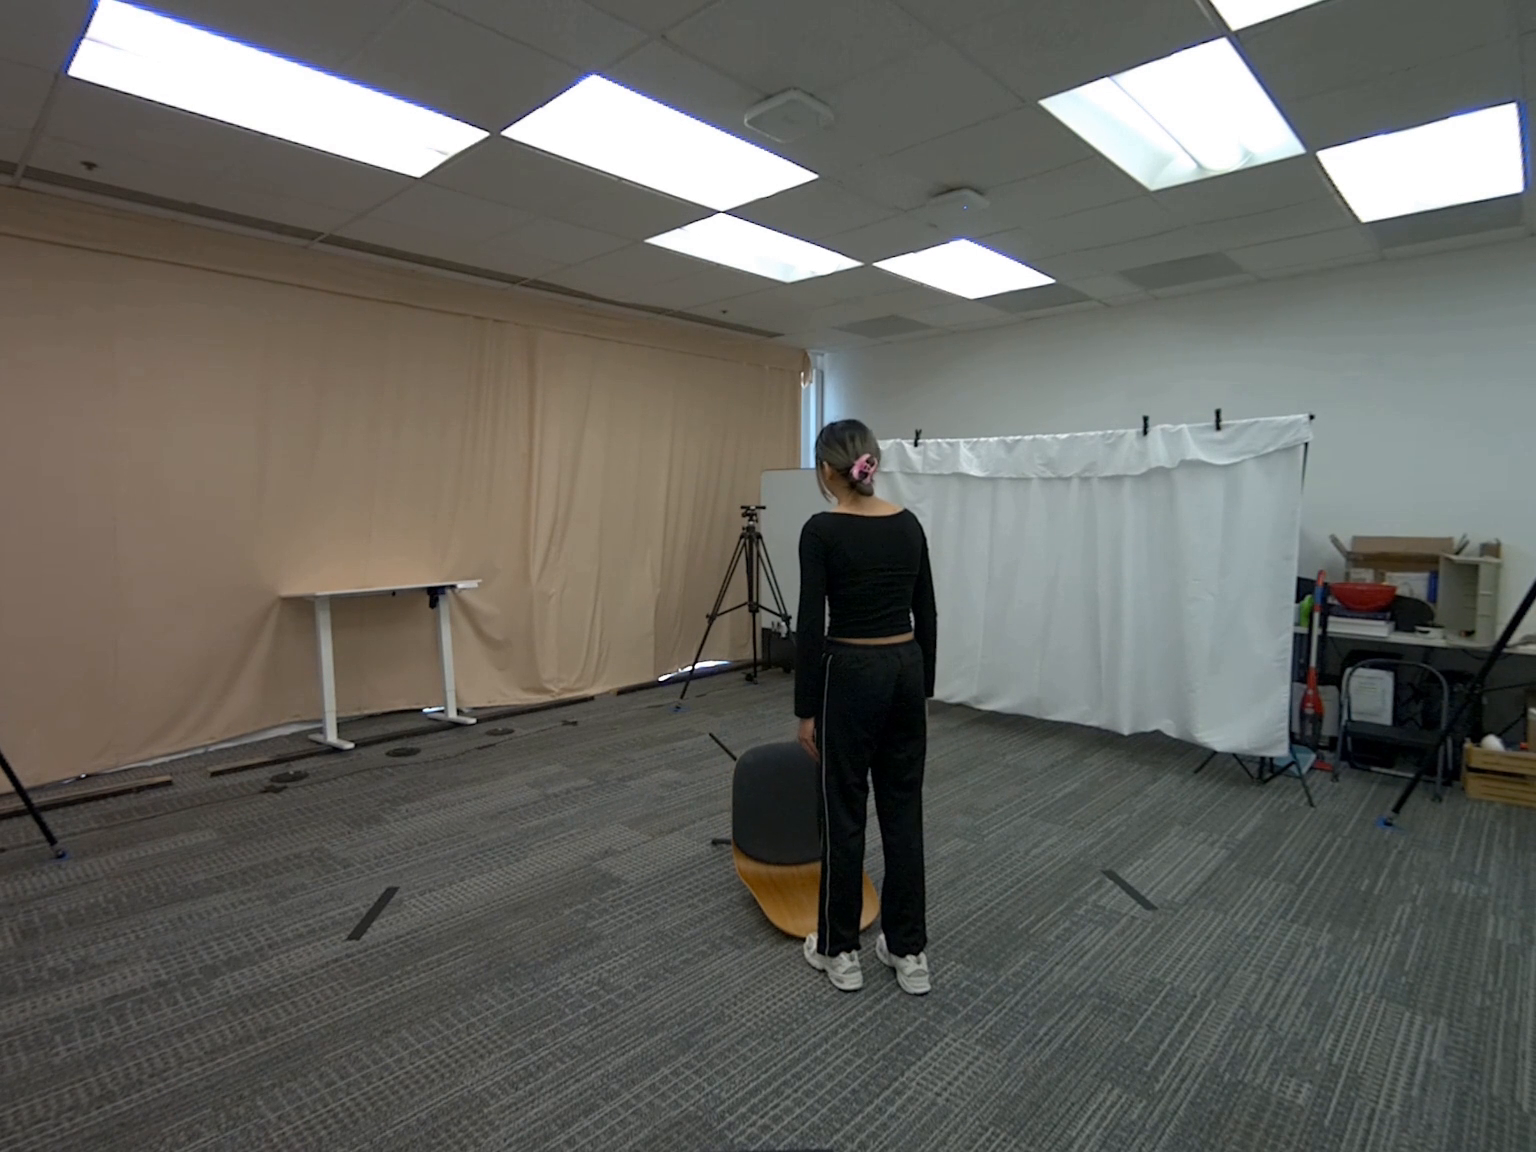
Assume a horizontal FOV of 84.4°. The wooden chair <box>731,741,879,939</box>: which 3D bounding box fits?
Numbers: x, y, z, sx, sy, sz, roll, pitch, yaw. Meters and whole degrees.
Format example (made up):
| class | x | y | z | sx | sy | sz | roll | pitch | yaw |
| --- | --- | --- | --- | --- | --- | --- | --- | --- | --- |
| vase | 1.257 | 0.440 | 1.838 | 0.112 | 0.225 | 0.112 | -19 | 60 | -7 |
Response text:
| class | x | y | z | sx | sy | sz | roll | pitch | yaw |
| --- | --- | --- | --- | --- | --- | --- | --- | --- | --- |
| wooden chair | 0.092 | 0.869 | 3.107 | 0.472 | 0.522 | 0.891 | -1 | 5 | -14 |
